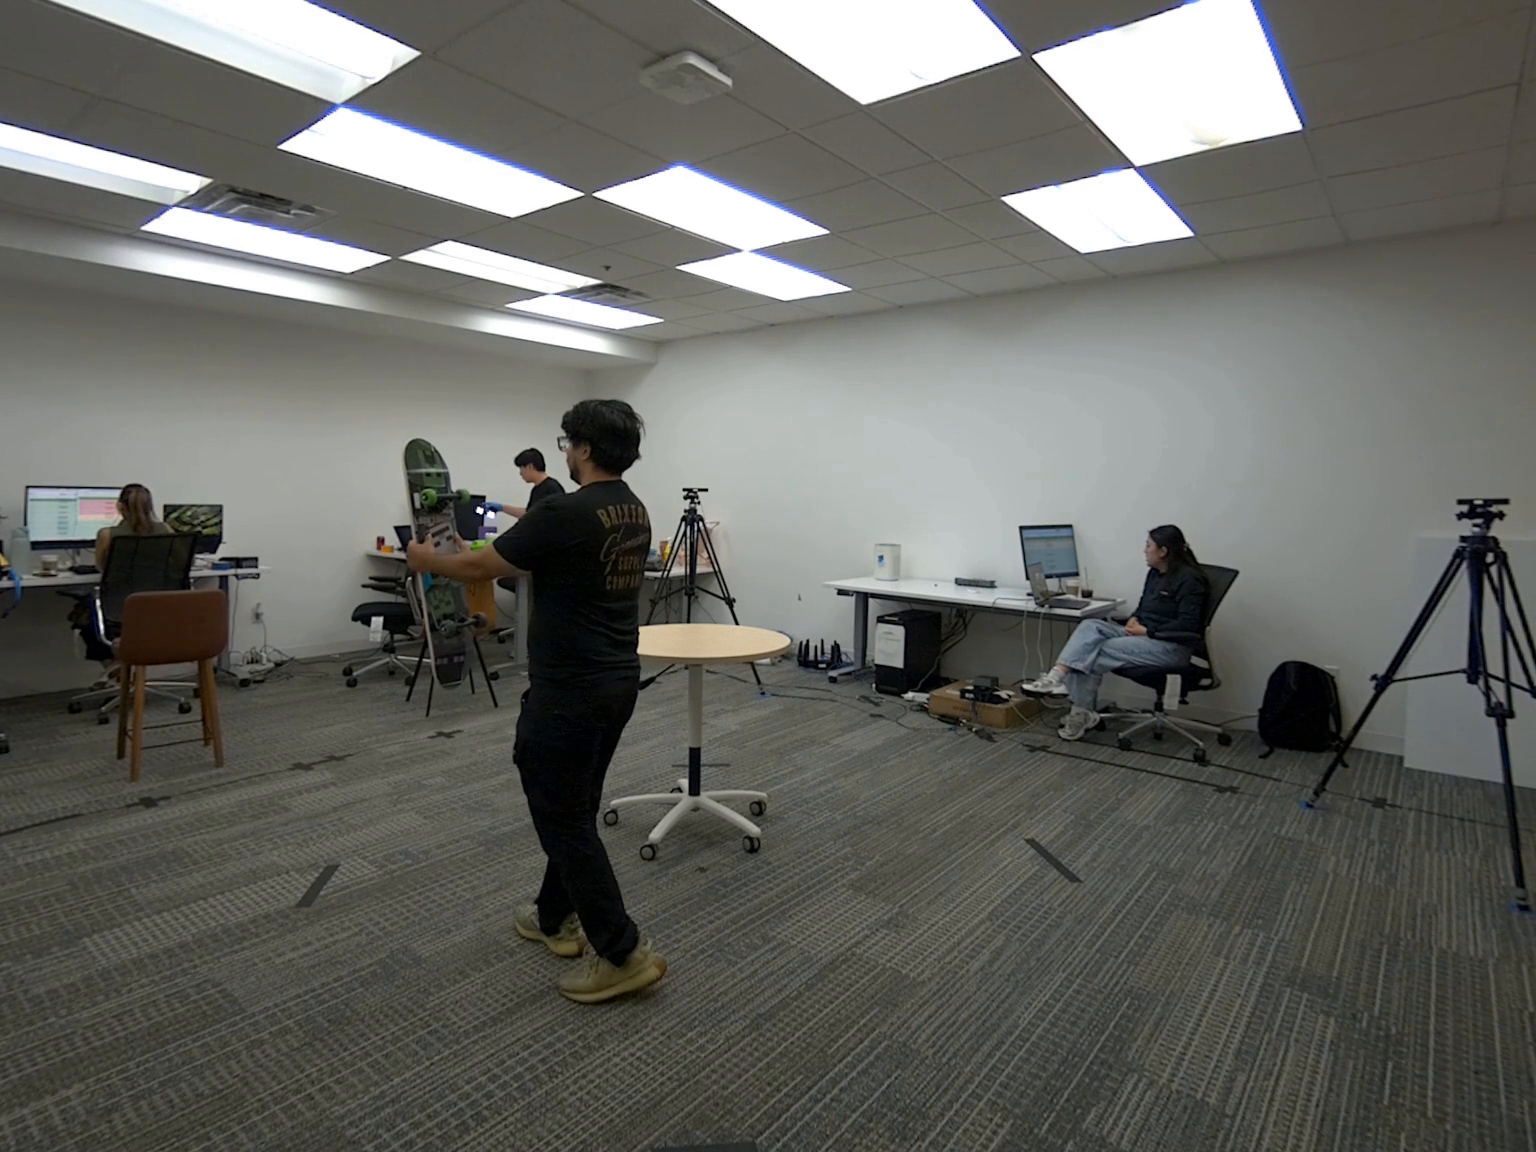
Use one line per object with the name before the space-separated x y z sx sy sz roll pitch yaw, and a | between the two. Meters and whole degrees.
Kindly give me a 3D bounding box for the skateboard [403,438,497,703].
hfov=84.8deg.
skateboard | -1.010 -0.042 2.633 0.112 0.784 0.190 -7 2 20
